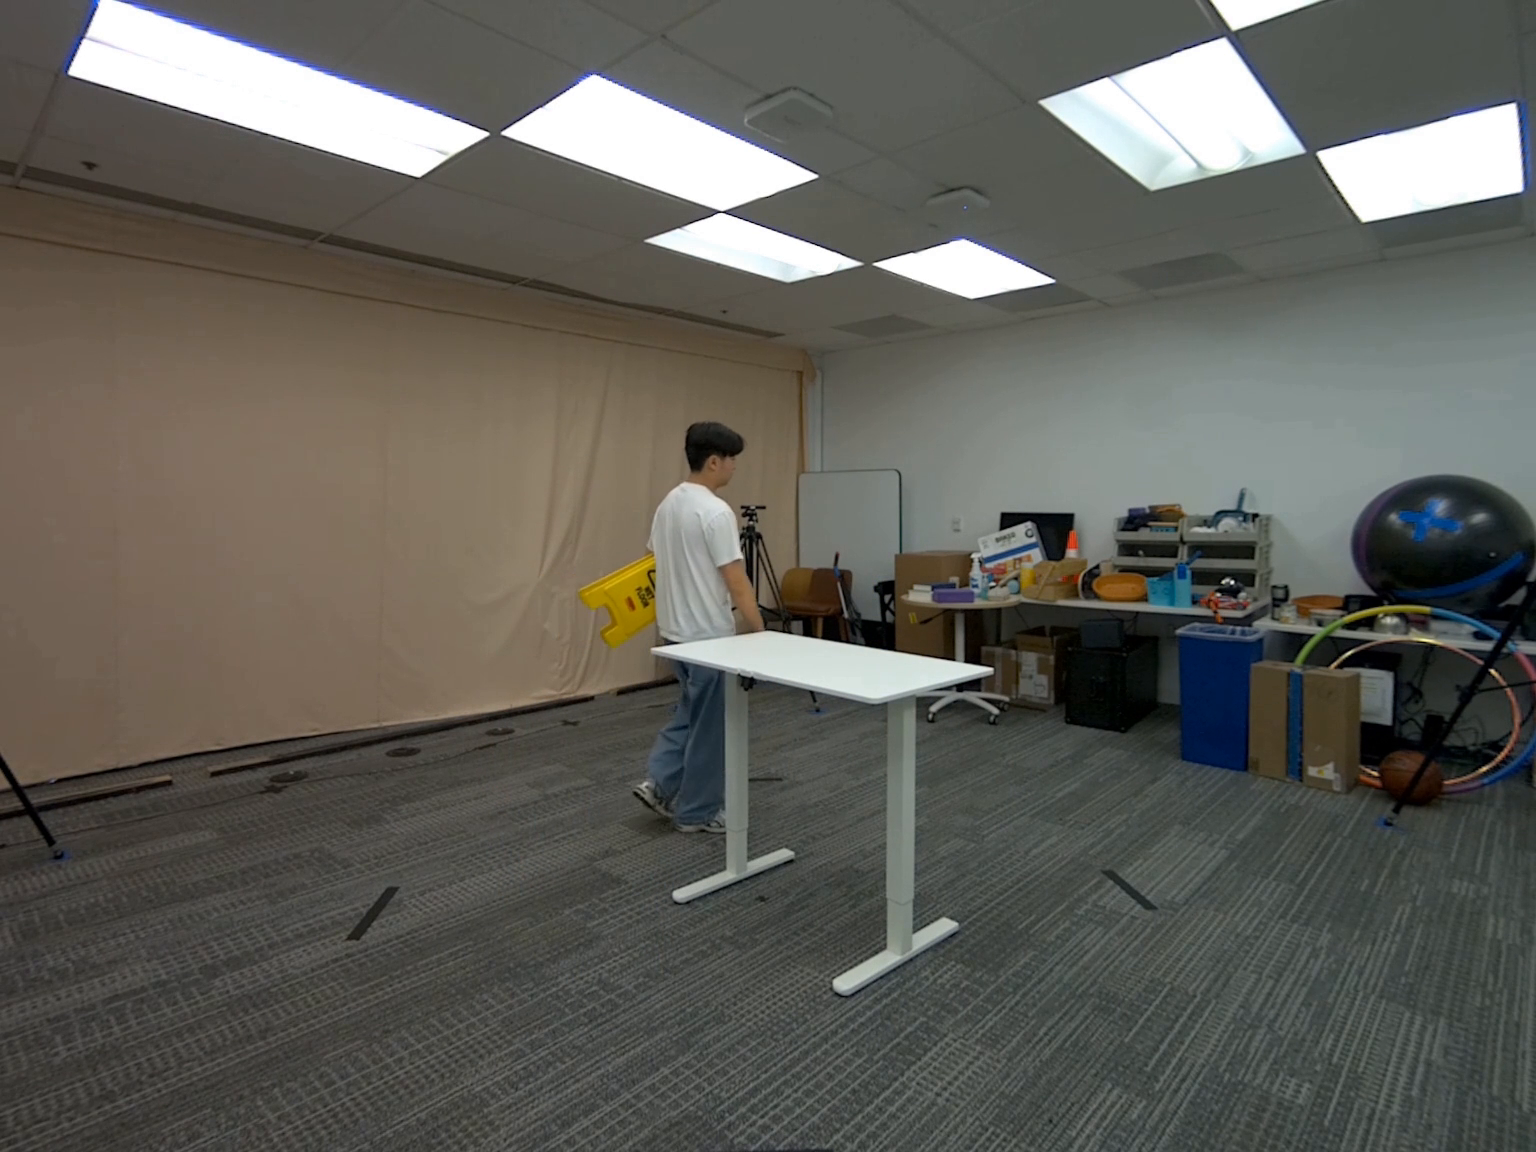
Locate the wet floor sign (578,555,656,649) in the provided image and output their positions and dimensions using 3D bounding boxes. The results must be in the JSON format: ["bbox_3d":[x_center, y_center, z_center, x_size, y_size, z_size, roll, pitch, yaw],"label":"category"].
[{"bbox_3d":[-0.468,0.028,3.706,0.641,0.278,0.296,-29,16,-12],"label":"wet floor sign"}]
